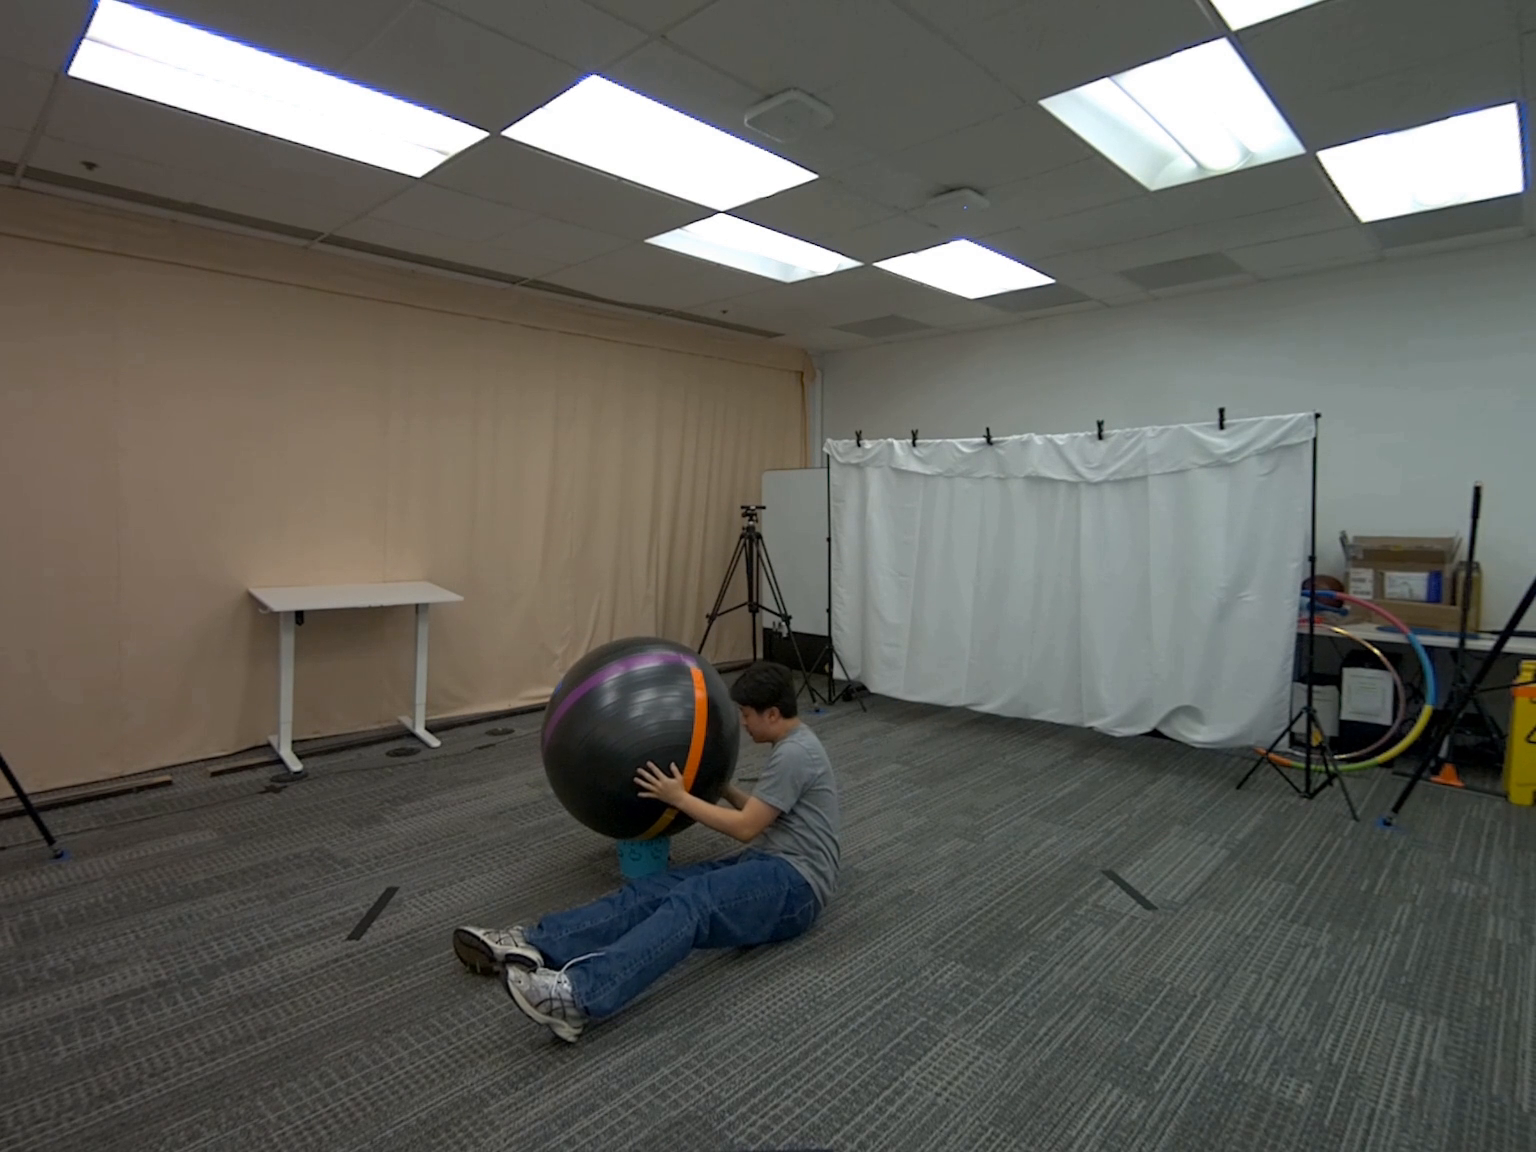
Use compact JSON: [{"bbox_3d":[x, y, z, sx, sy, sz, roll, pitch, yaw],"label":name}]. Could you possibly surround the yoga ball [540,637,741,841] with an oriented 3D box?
[{"bbox_3d":[-0.487,0.618,3.215,0.757,0.756,0.760,0,4,-2],"label":"yoga ball"}]
